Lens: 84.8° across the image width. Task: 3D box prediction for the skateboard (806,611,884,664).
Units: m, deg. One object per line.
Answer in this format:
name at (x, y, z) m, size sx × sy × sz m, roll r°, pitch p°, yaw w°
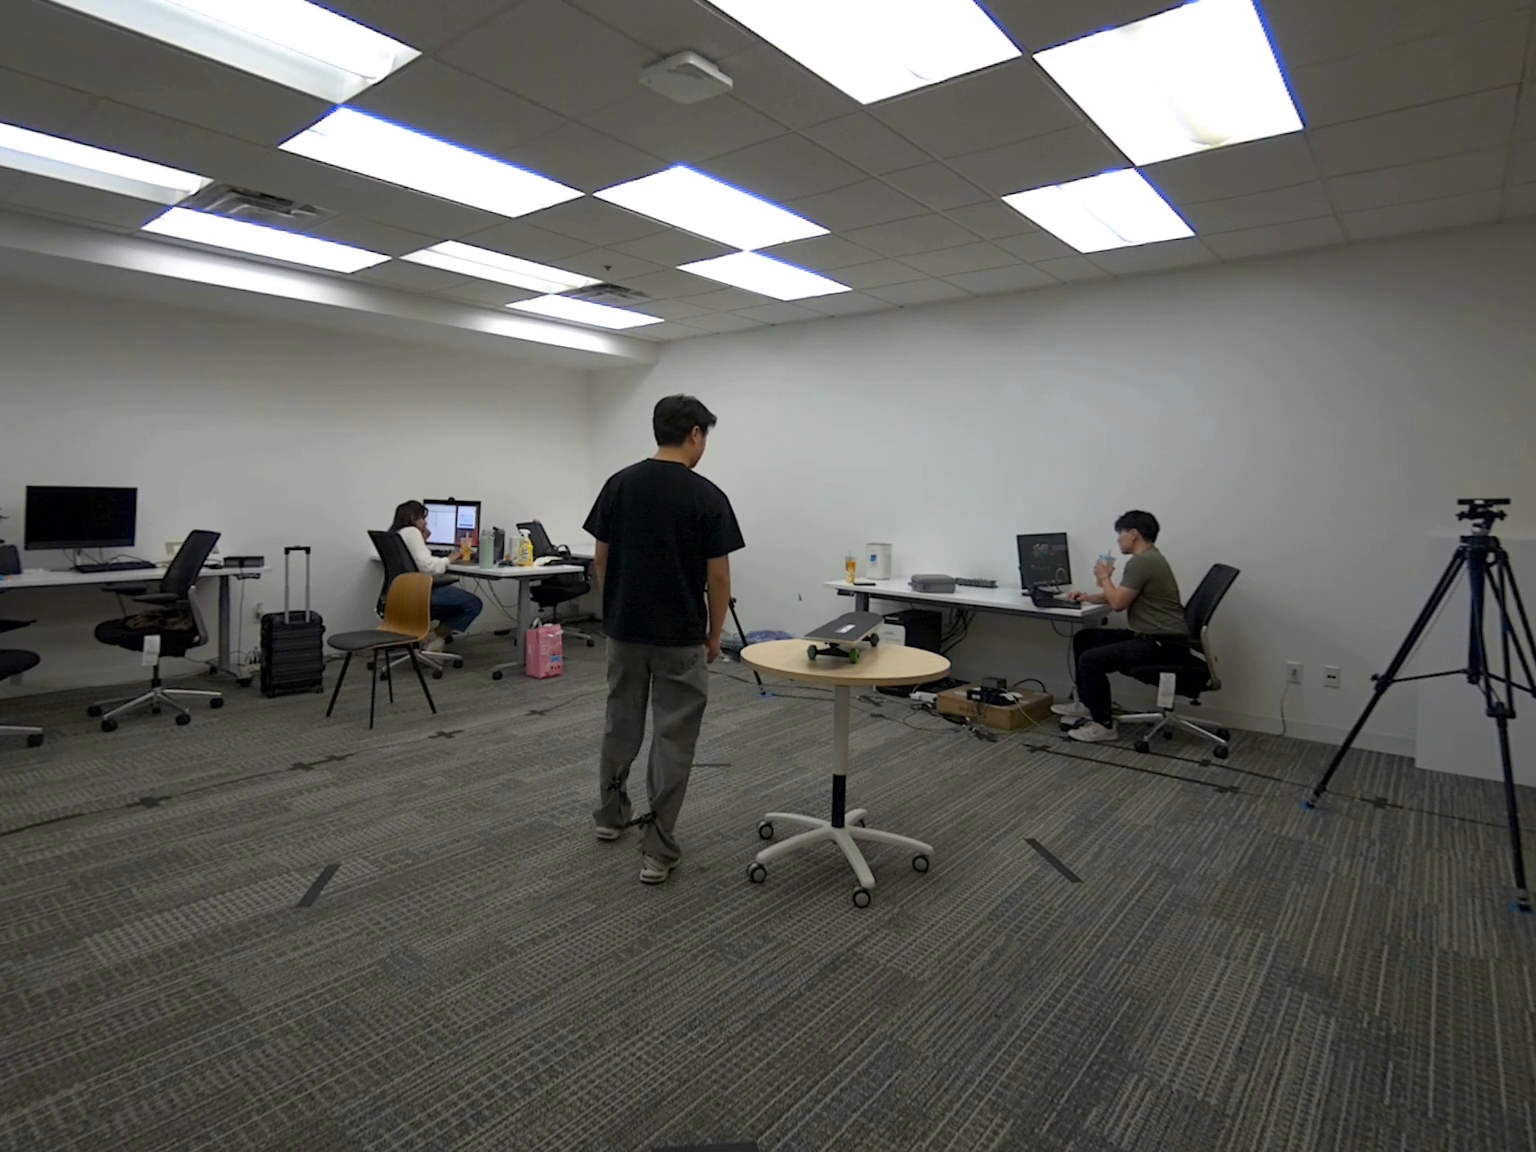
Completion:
skateboard at (0.290, 0.239, 3.248) m, size 0.198 × 0.110 × 0.772 m, roll 3°, pitch 7°, yaw 19°
